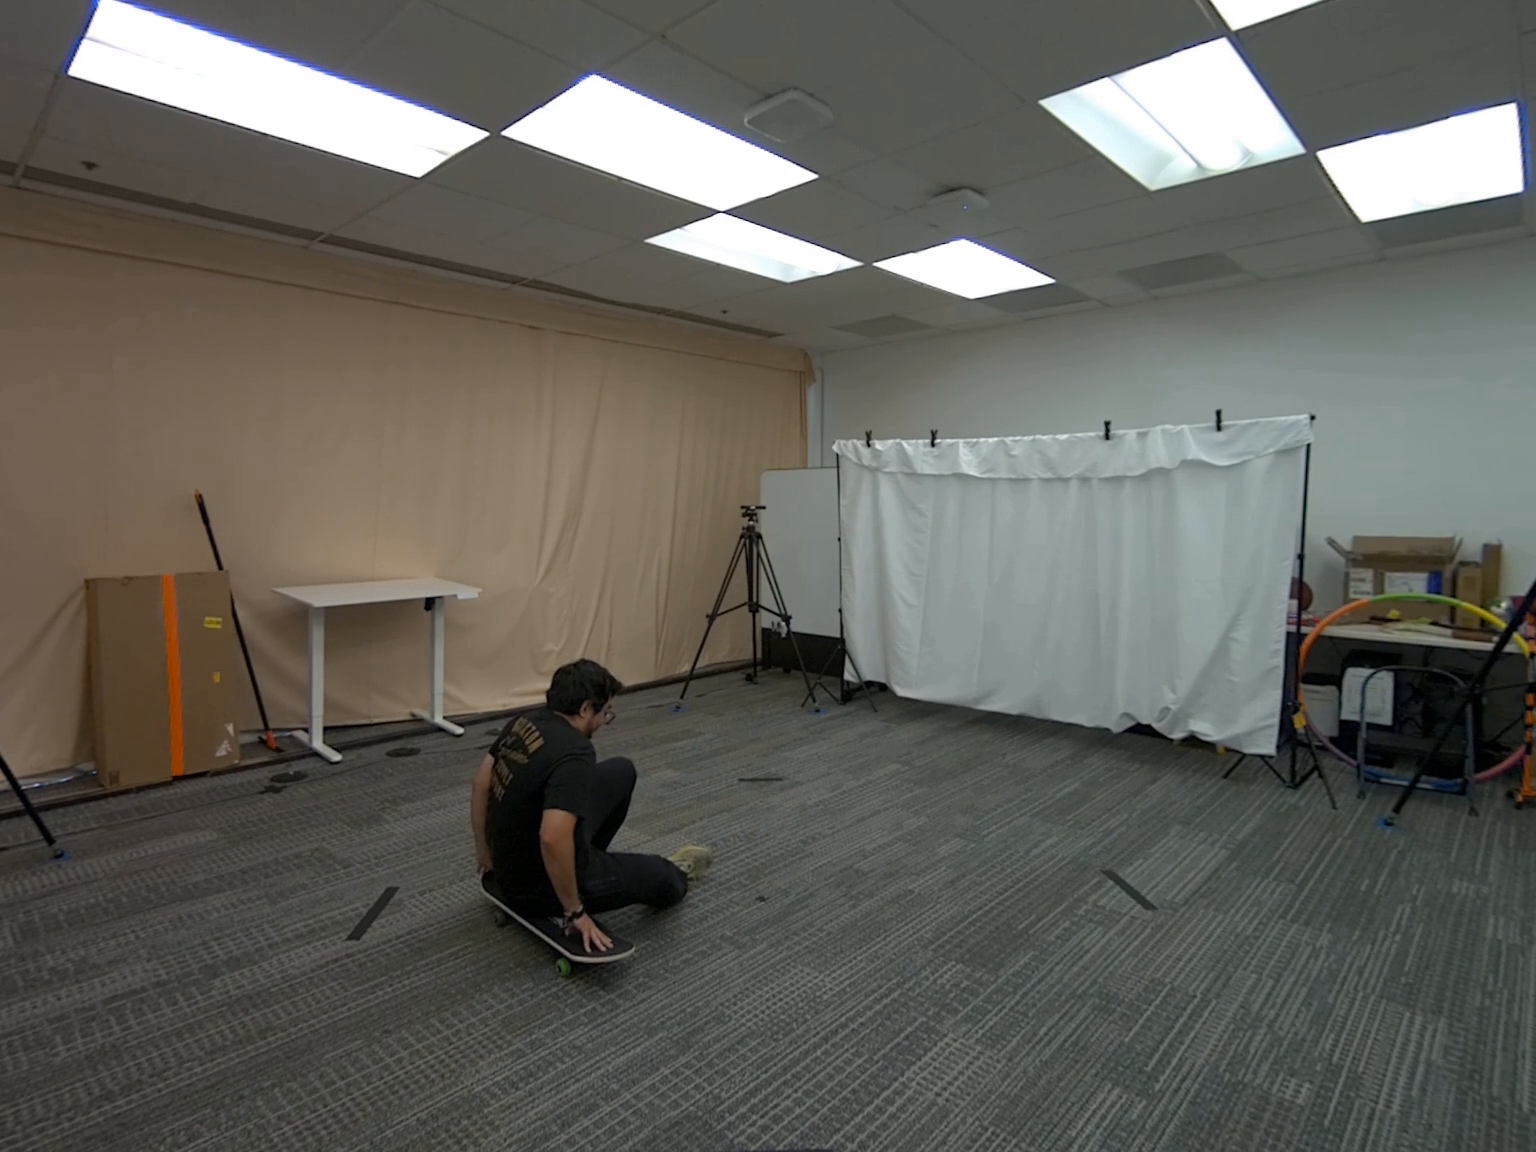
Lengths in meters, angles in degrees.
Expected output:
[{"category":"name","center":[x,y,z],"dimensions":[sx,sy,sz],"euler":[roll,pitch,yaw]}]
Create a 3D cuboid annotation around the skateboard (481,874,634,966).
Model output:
[{"category":"skateboard","center":[-0.695,1.113,2.708],"dimensions":[0.187,0.110,0.812],"euler":[5,0,-42]}]
